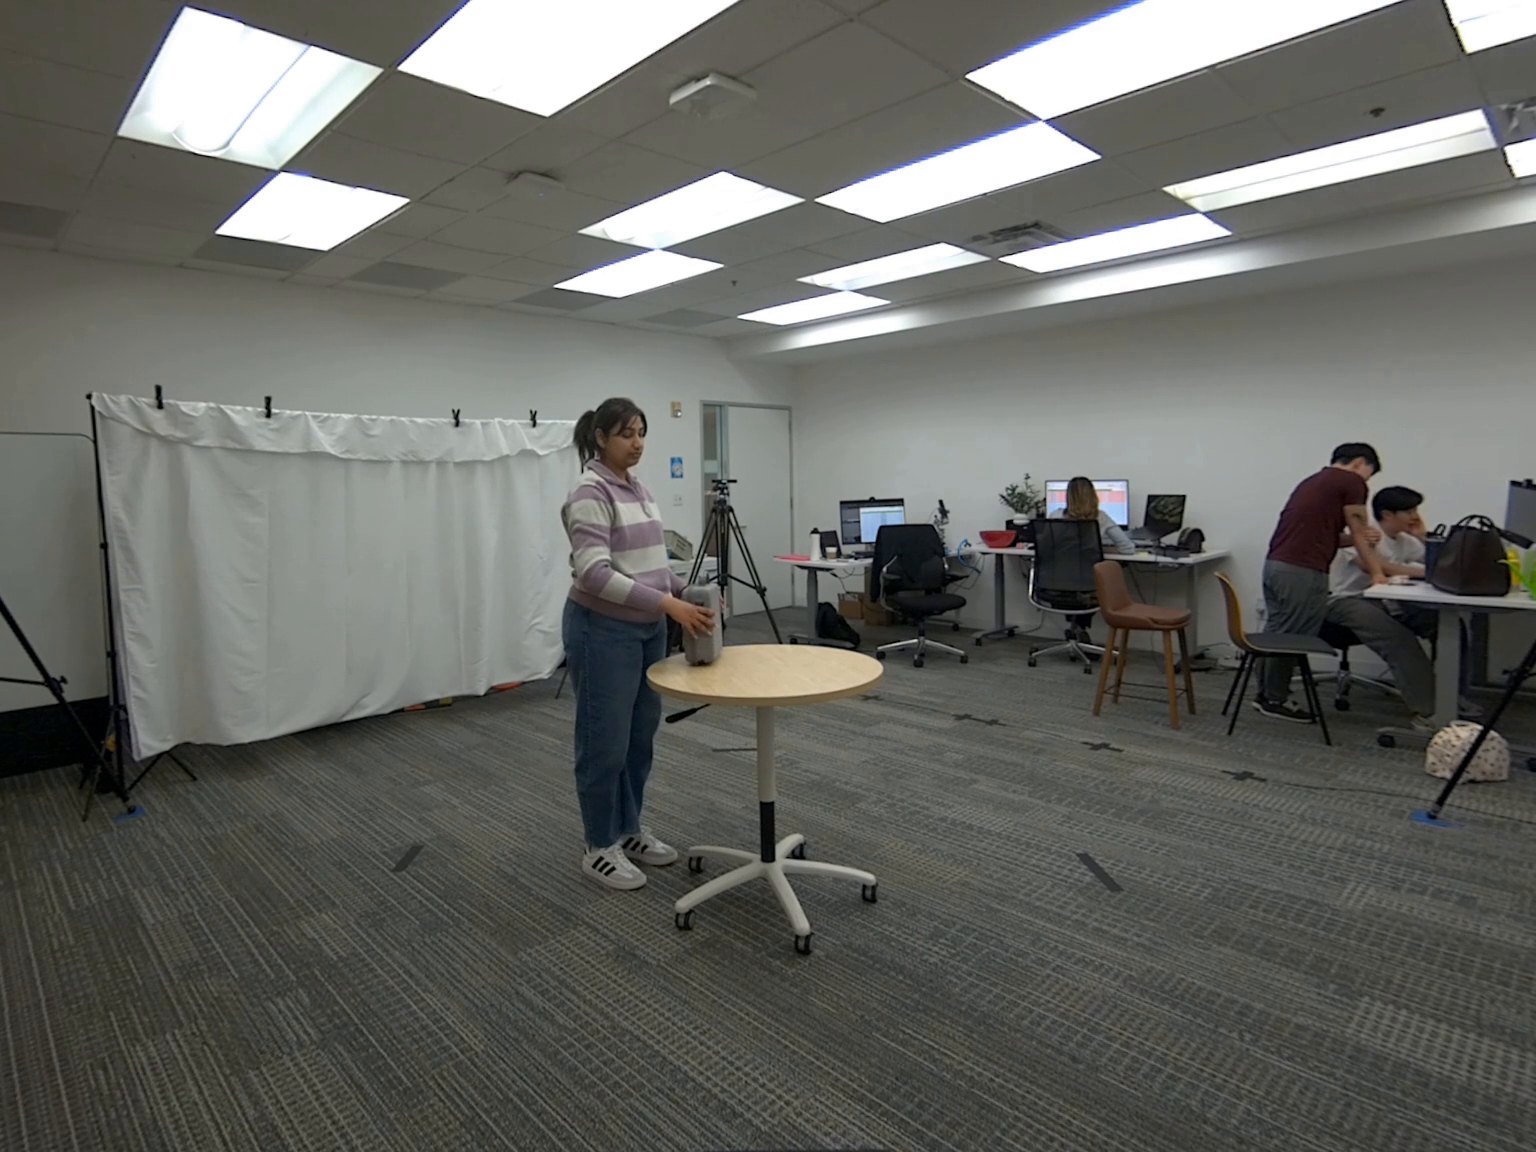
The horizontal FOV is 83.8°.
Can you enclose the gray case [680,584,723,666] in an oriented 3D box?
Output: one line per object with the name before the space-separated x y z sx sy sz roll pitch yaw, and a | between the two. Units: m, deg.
gray case | -0.226 0.153 2.931 0.105 0.260 0.256 -2 1 3
